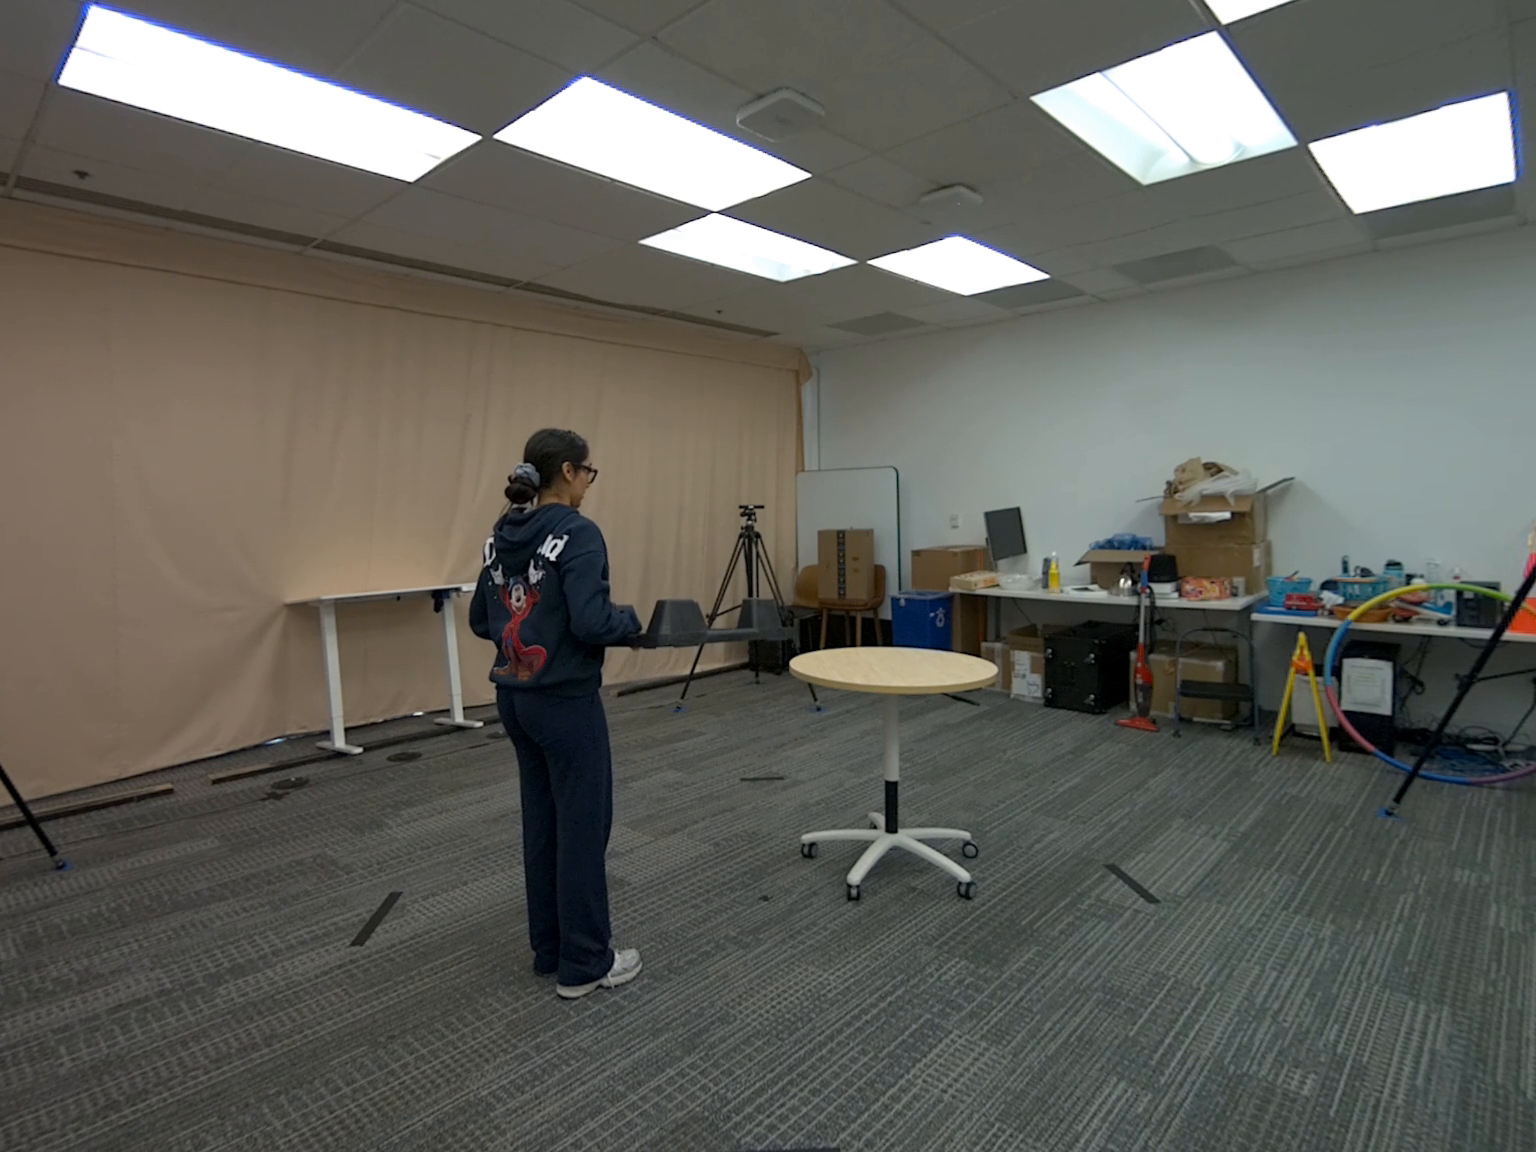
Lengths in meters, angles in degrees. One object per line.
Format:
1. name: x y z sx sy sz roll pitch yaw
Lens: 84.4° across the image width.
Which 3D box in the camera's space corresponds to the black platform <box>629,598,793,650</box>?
1. black platform: -0.394 0.161 2.763 0.830 0.144 0.585 -4 -4 41
